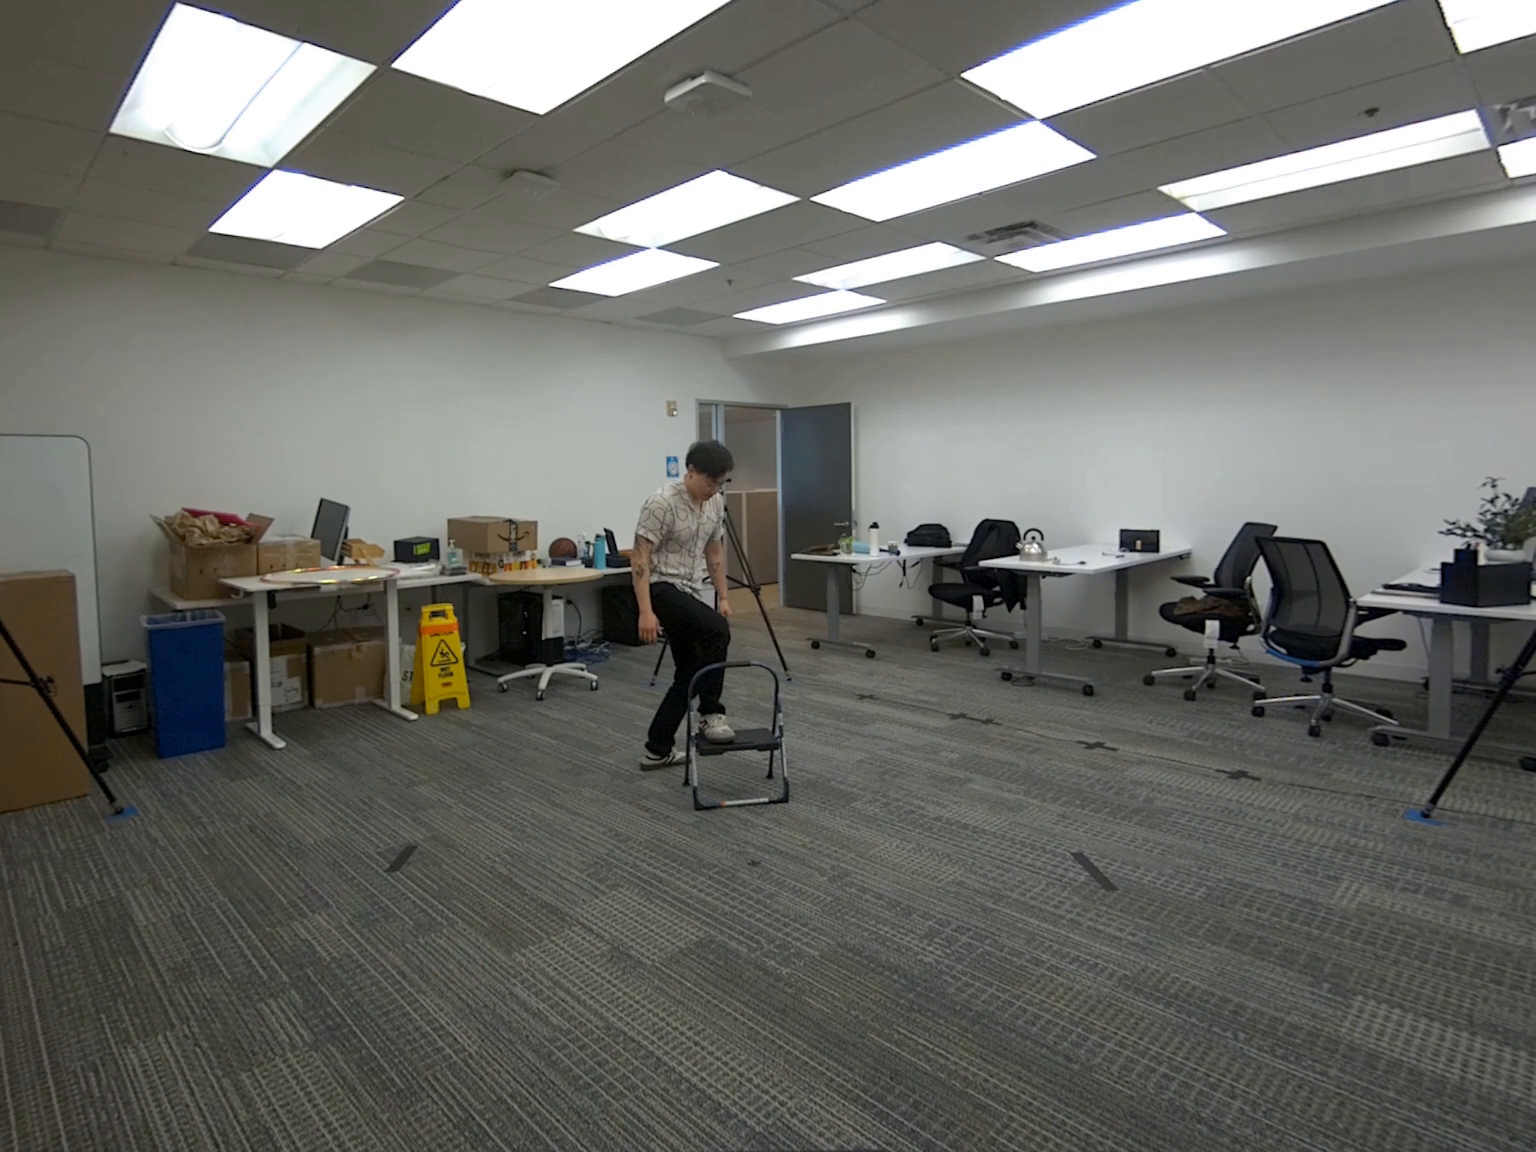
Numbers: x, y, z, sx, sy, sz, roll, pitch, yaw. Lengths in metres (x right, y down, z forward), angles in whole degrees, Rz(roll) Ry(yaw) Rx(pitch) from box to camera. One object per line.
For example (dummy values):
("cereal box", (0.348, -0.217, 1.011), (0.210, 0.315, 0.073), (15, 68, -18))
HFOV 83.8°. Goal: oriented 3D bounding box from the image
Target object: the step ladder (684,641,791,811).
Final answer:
("step ladder", (-0.151, 0.670, 3.795), (0.426, 0.604, 0.354), (-2, 4, -12))
